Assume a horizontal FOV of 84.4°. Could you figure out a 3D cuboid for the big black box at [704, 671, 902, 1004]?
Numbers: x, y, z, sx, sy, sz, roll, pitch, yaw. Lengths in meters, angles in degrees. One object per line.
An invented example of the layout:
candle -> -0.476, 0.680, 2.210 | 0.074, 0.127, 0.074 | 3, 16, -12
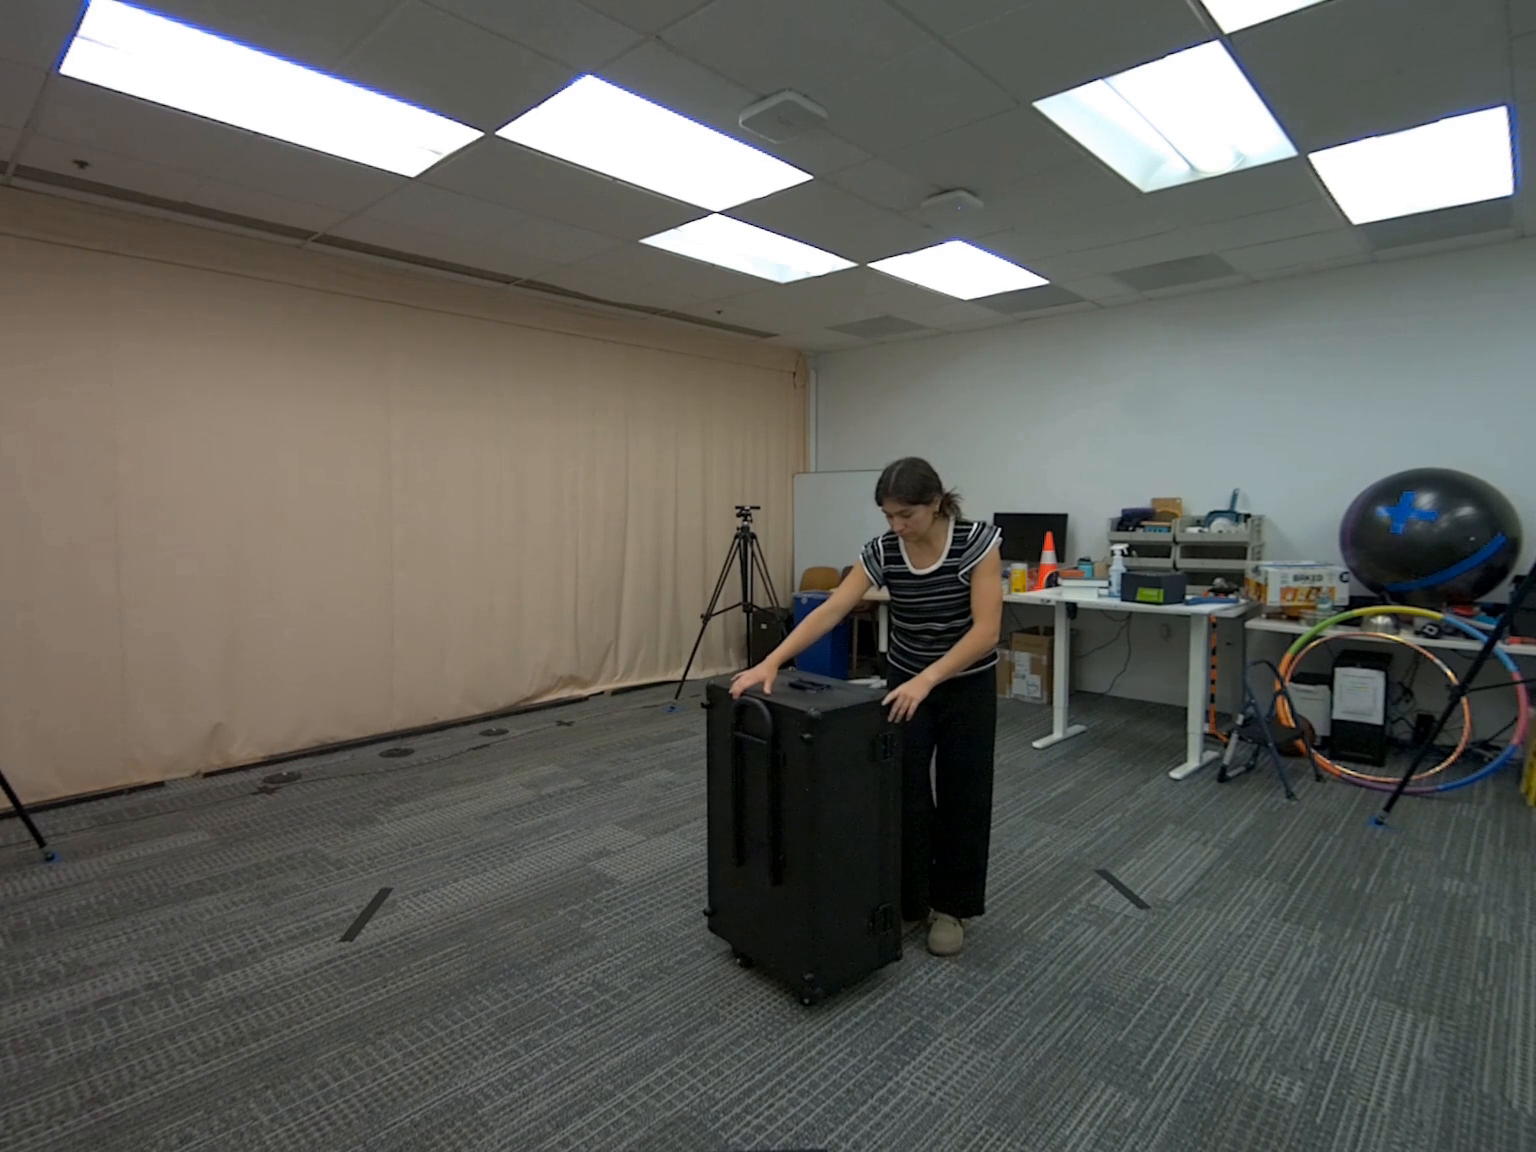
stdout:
big black box -> 0.098, 0.760, 2.513 | 0.385, 0.859, 0.538 | -5, 5, -39
